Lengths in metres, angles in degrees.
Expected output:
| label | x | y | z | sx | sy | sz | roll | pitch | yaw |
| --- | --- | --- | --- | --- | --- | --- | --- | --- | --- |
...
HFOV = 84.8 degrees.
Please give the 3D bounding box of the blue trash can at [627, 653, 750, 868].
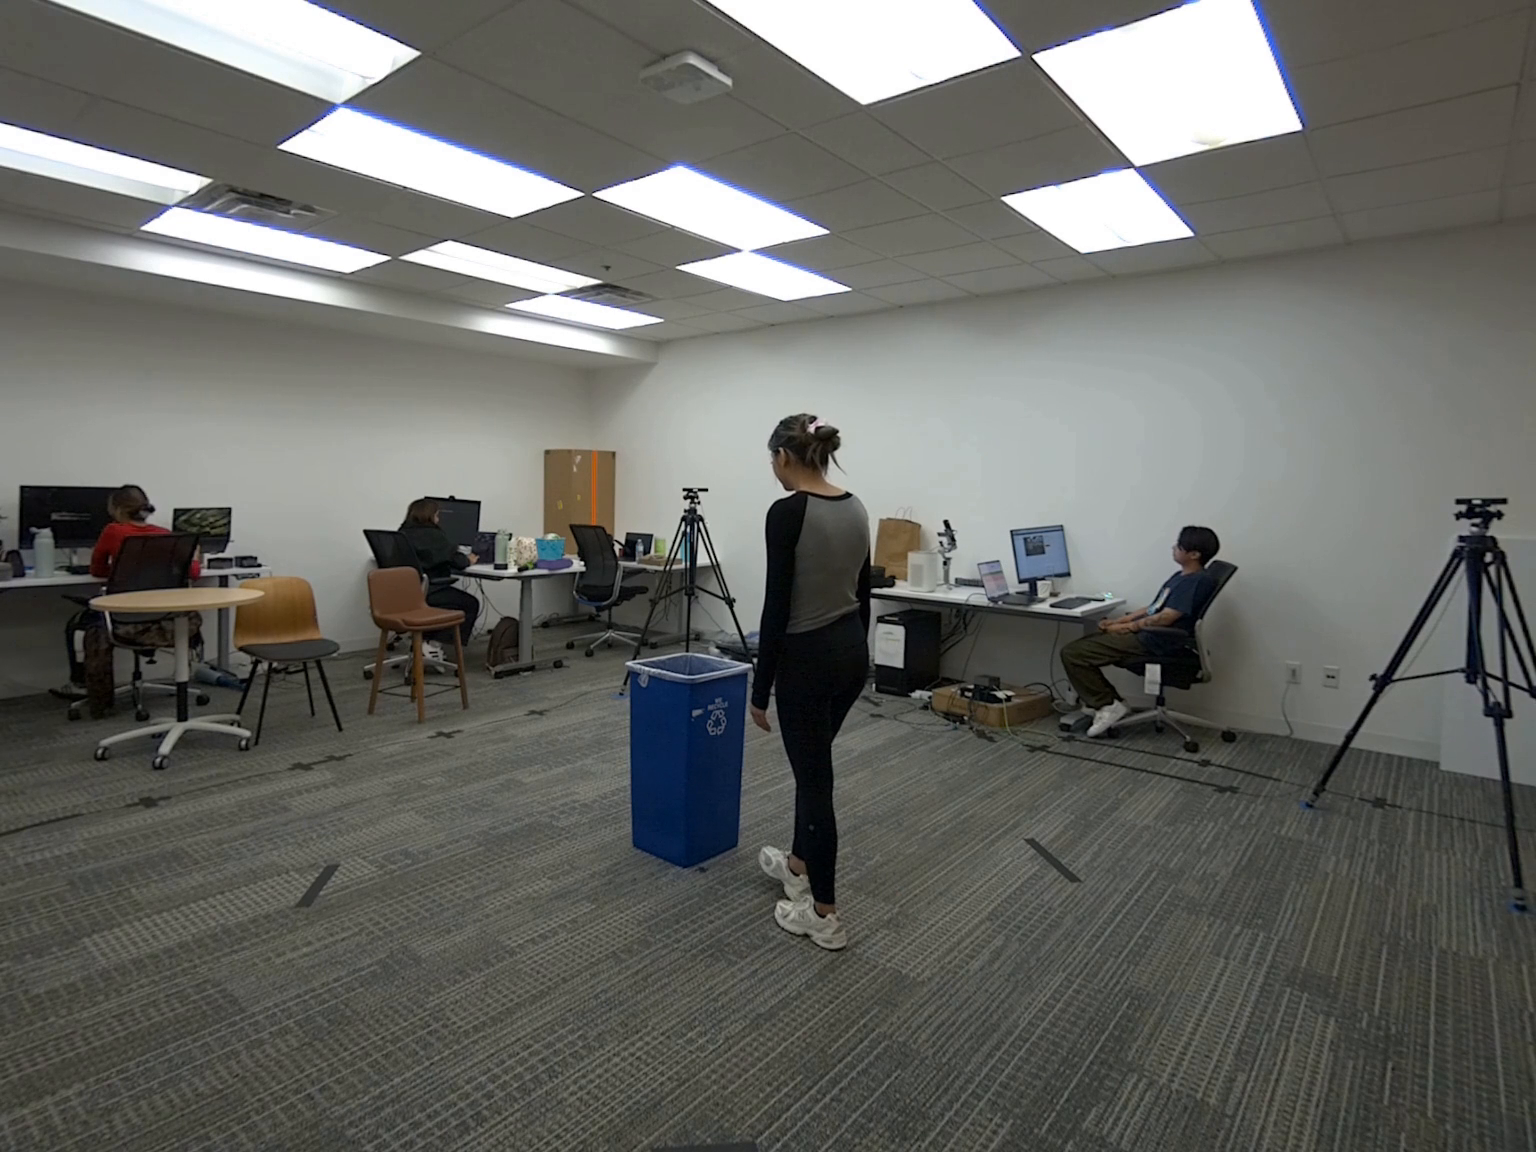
| label | x | y | z | sx | sy | sz | roll | pitch | yaw |
| --- | --- | --- | --- | --- | --- | --- | --- | --- | --- |
| blue trash can | -0.325 | 0.691 | 3.307 | 0.391 | 0.711 | 0.363 | 4 | 4 | 40 |
